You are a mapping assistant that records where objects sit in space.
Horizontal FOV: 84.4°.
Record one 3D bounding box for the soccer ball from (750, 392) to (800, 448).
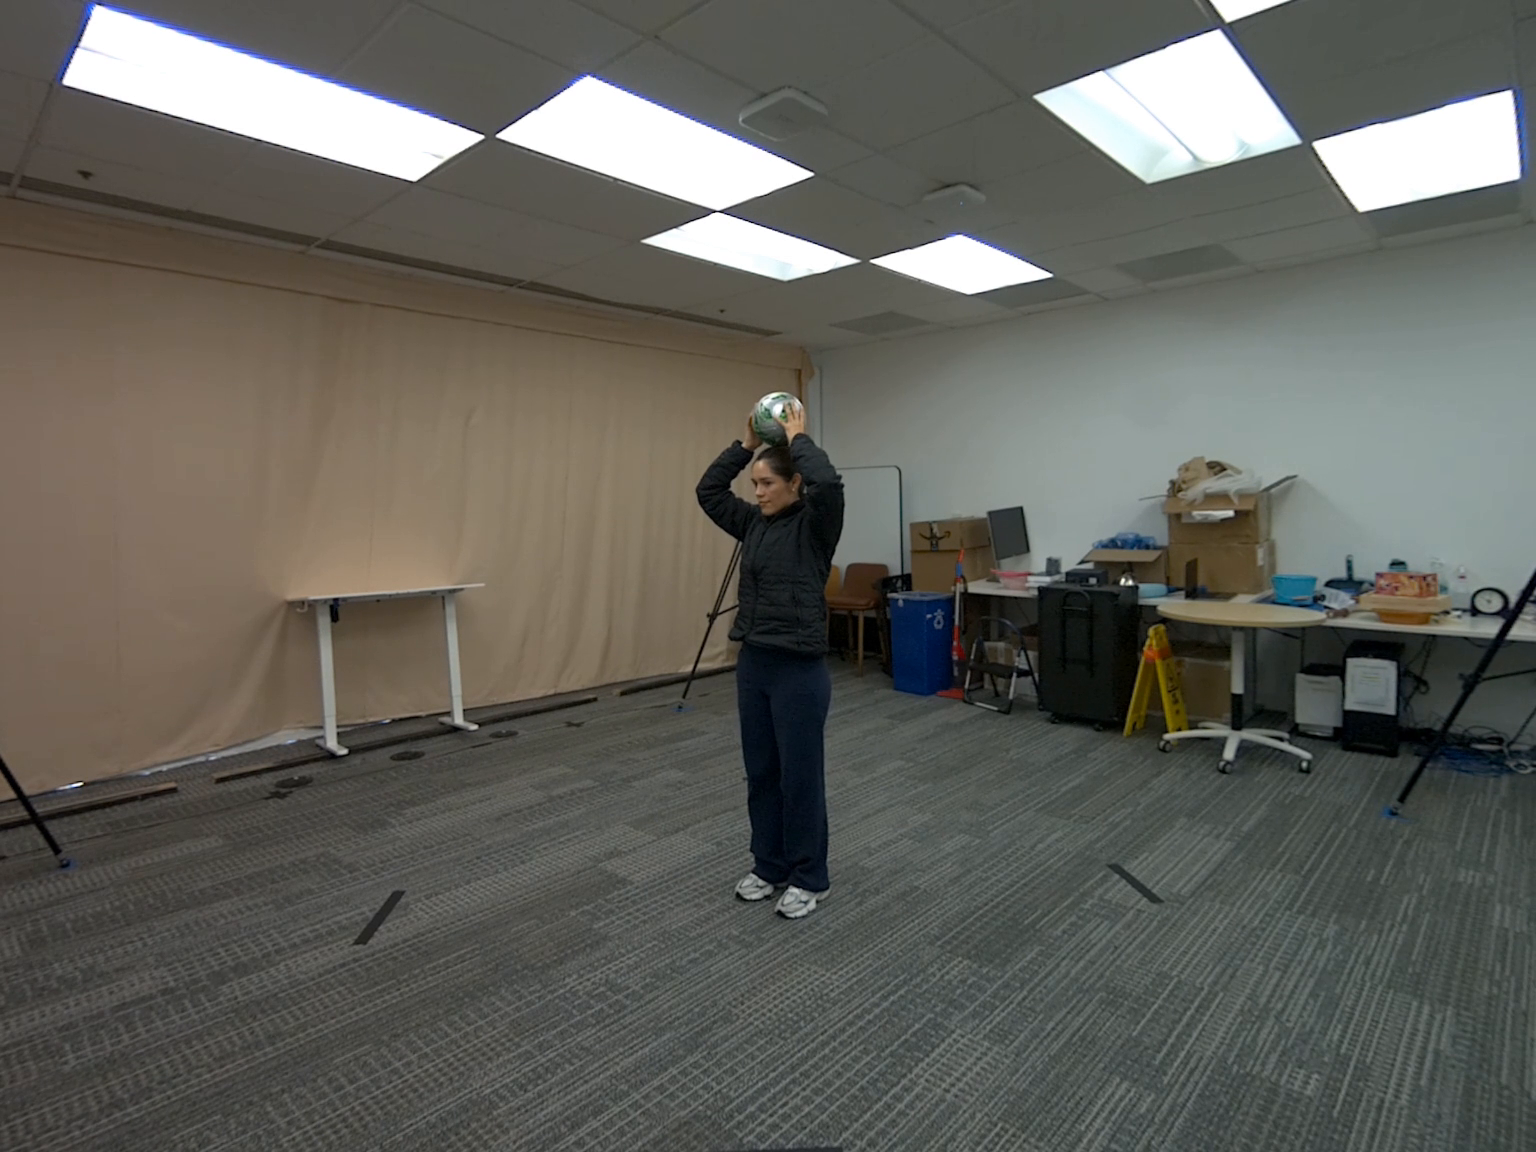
[{"bbox_3d":[0.040,-0.541,2.916,0.187,0.187,0.188,-1,4,-2],"label":"soccer ball"}]
